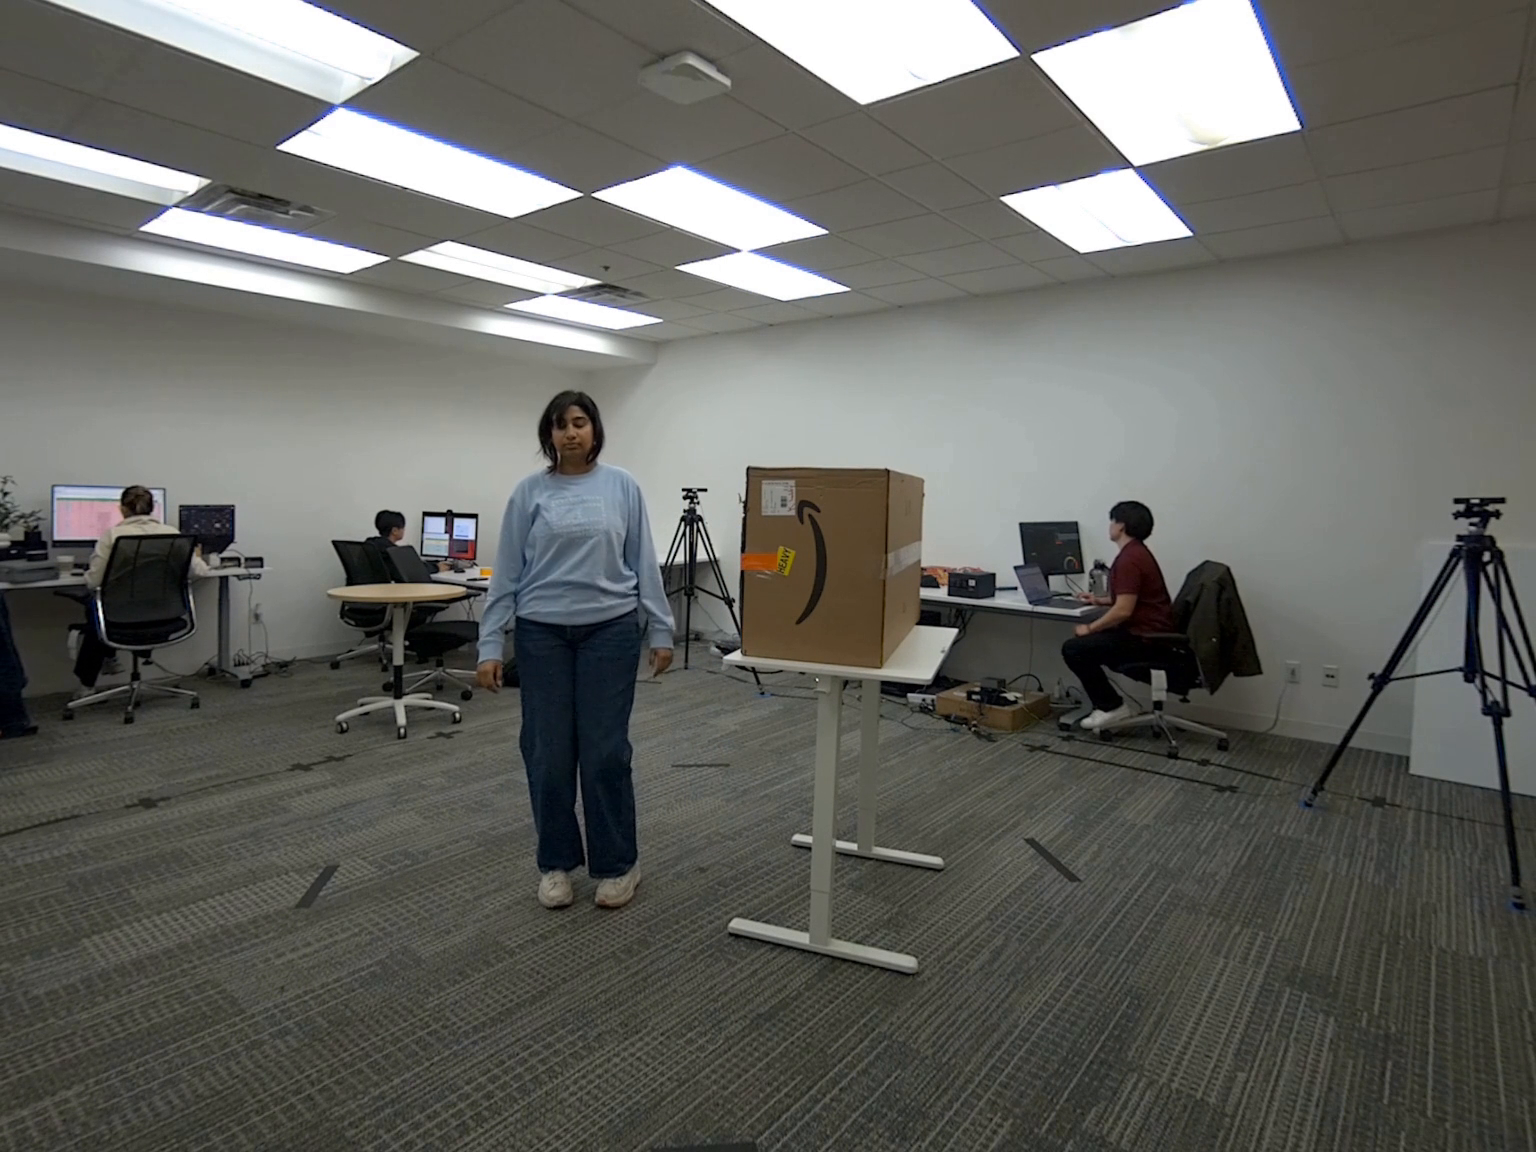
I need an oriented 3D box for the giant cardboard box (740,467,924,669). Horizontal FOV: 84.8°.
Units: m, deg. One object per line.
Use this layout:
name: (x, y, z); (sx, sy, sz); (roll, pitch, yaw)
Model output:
giant cardboard box: (0.255, -0.075, 2.960); (0.434, 0.575, 1.010); (2, 5, 16)
